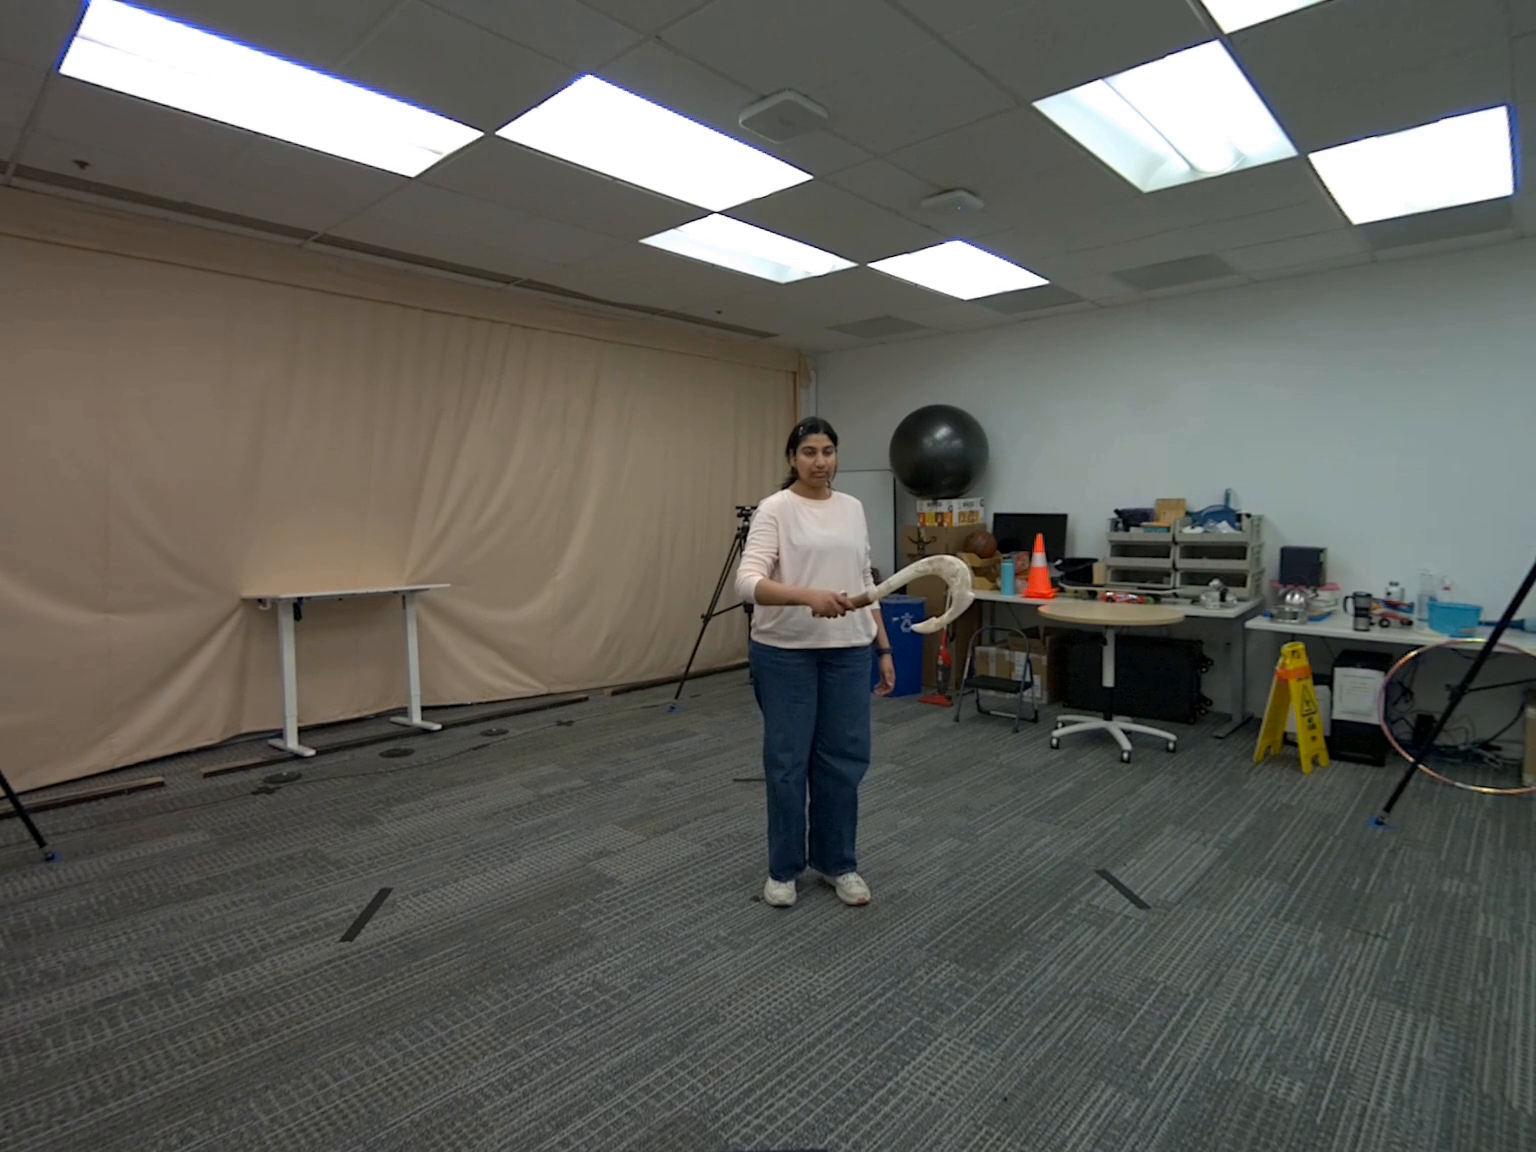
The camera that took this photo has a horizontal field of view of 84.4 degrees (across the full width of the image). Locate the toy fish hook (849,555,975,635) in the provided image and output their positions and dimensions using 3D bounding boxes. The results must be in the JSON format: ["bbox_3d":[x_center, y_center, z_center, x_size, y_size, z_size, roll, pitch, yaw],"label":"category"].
[{"bbox_3d":[0.356,0.068,2.483,0.516,0.228,0.046,-20,-34,27],"label":"toy fish hook"}]
